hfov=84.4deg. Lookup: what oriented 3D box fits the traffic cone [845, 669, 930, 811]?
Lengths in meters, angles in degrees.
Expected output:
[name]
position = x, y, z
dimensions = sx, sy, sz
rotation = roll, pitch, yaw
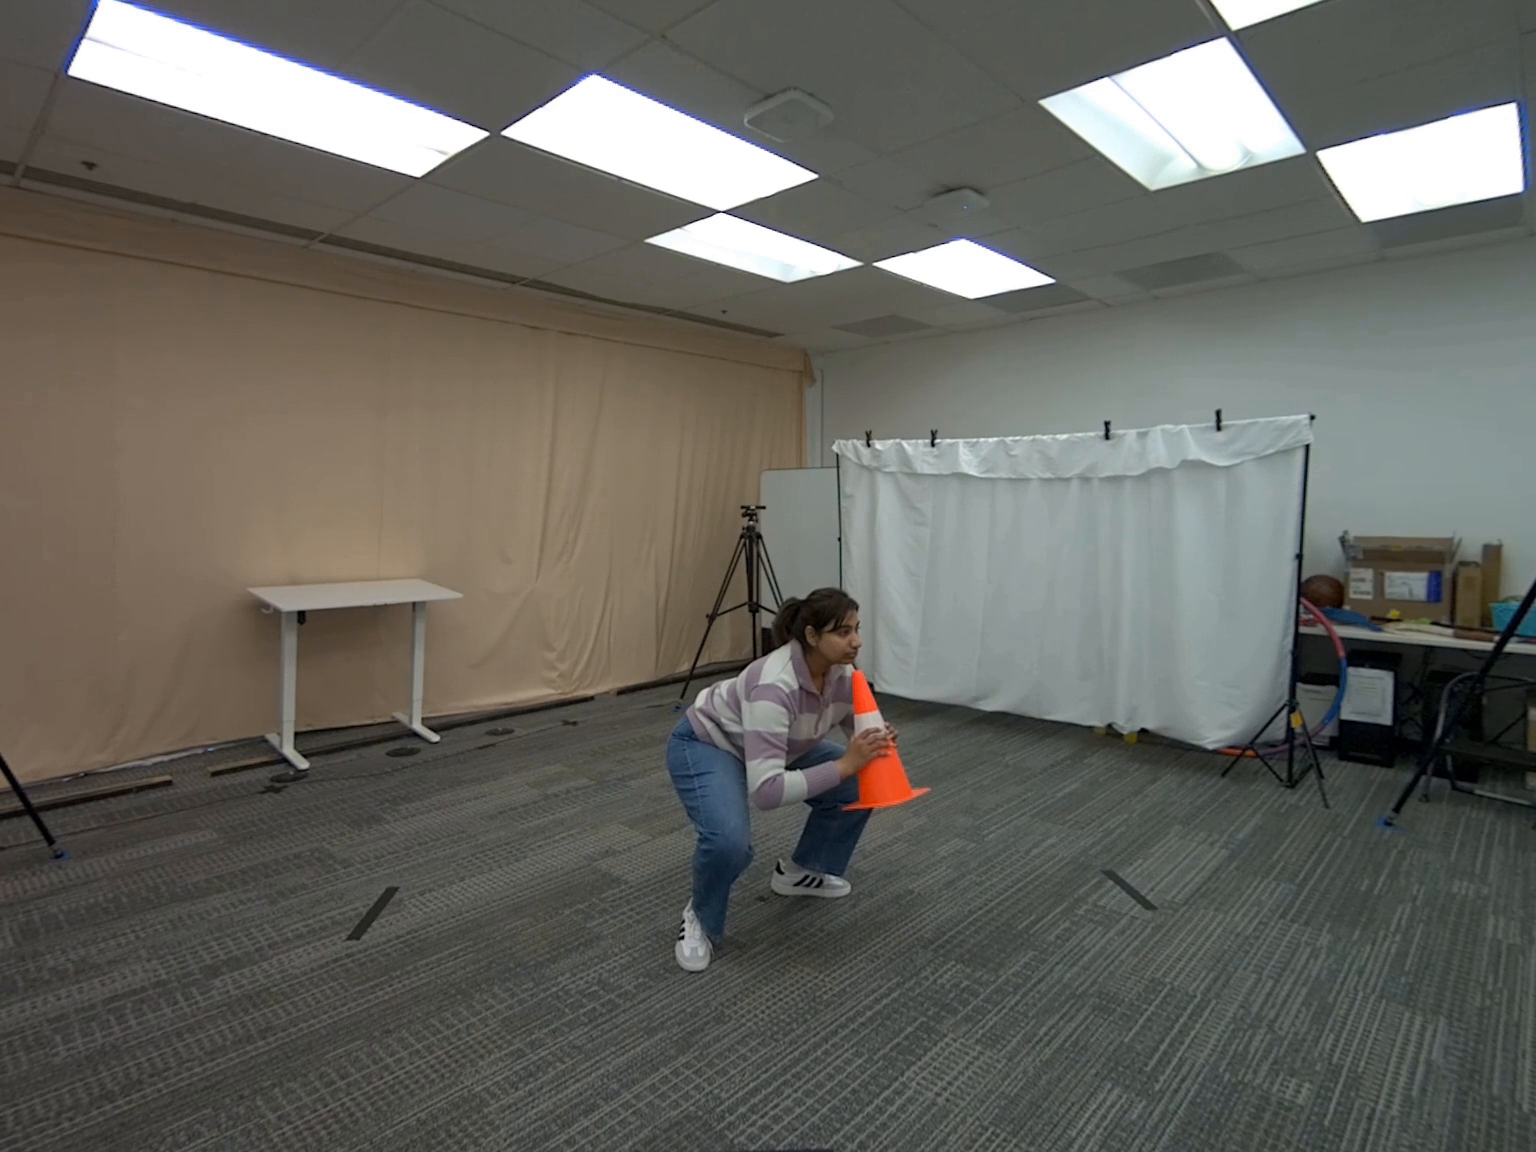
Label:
[traffic cone]
position = 0.308, 0.476, 2.502
dimensions = 0.199, 0.386, 0.208
rotation = -7, -9, -43
